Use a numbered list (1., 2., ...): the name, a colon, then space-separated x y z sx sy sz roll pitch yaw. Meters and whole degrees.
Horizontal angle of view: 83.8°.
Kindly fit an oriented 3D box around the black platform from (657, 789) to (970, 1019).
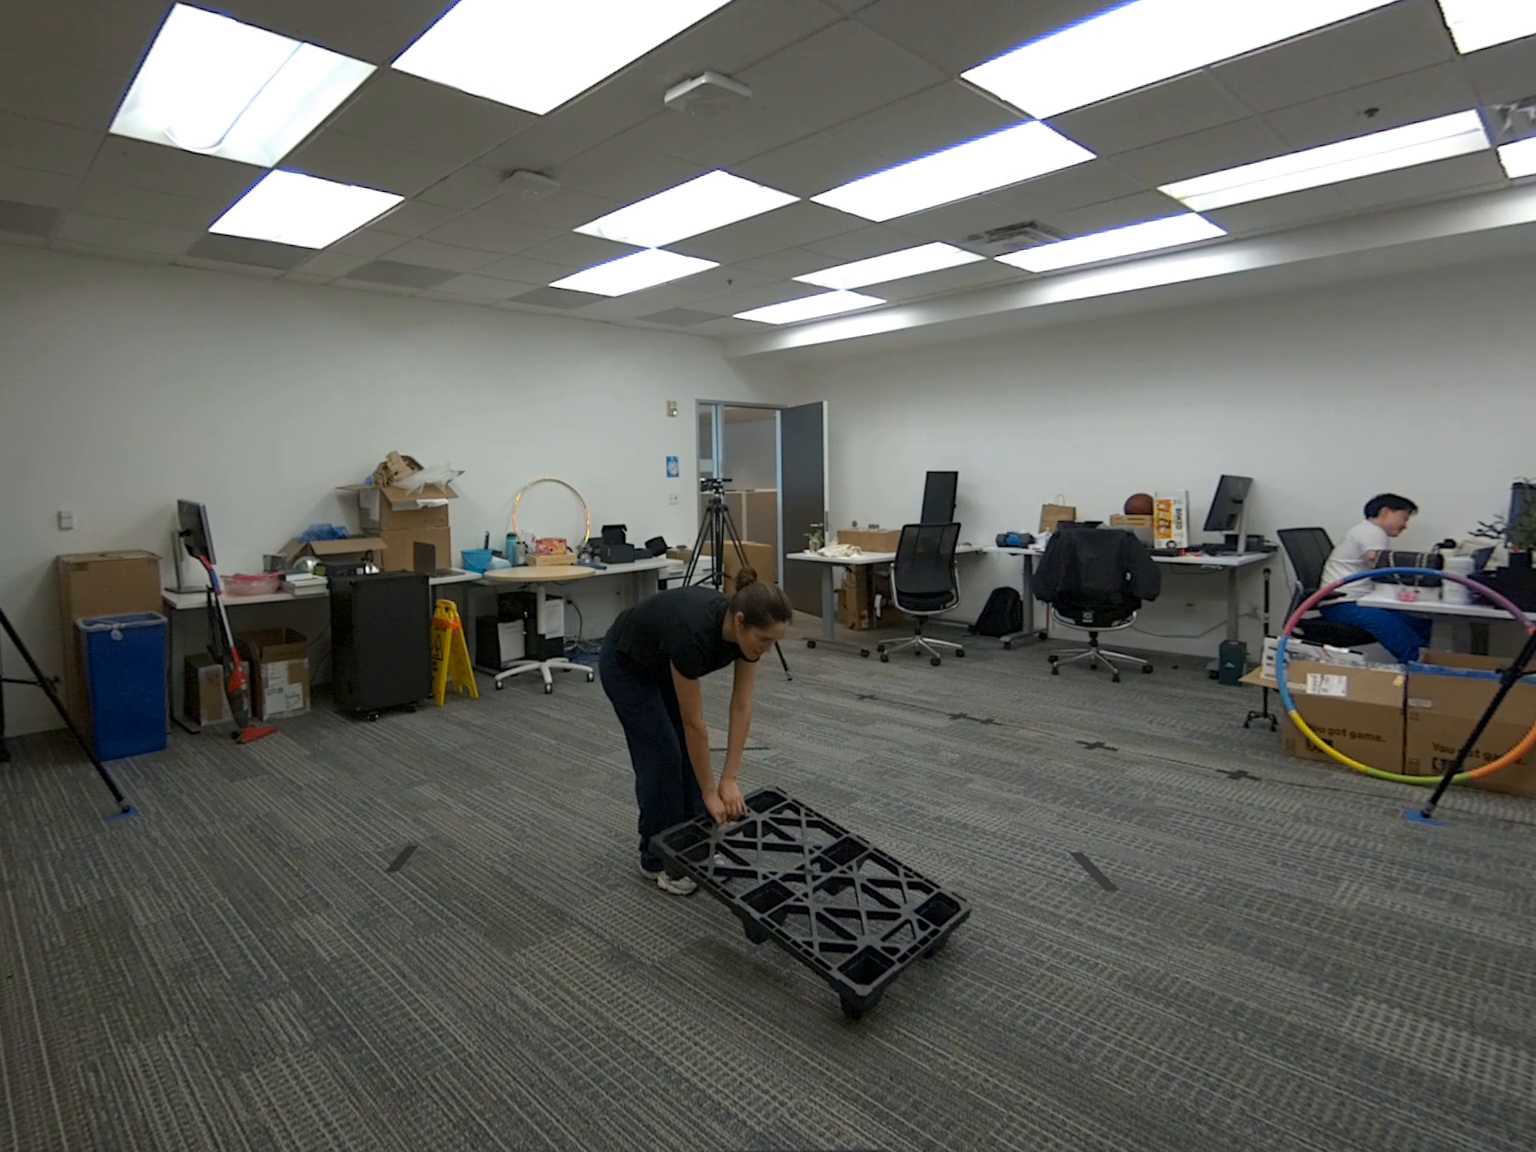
1. black platform: 0.114 0.955 2.606 0.835 0.142 0.589 21 19 38
